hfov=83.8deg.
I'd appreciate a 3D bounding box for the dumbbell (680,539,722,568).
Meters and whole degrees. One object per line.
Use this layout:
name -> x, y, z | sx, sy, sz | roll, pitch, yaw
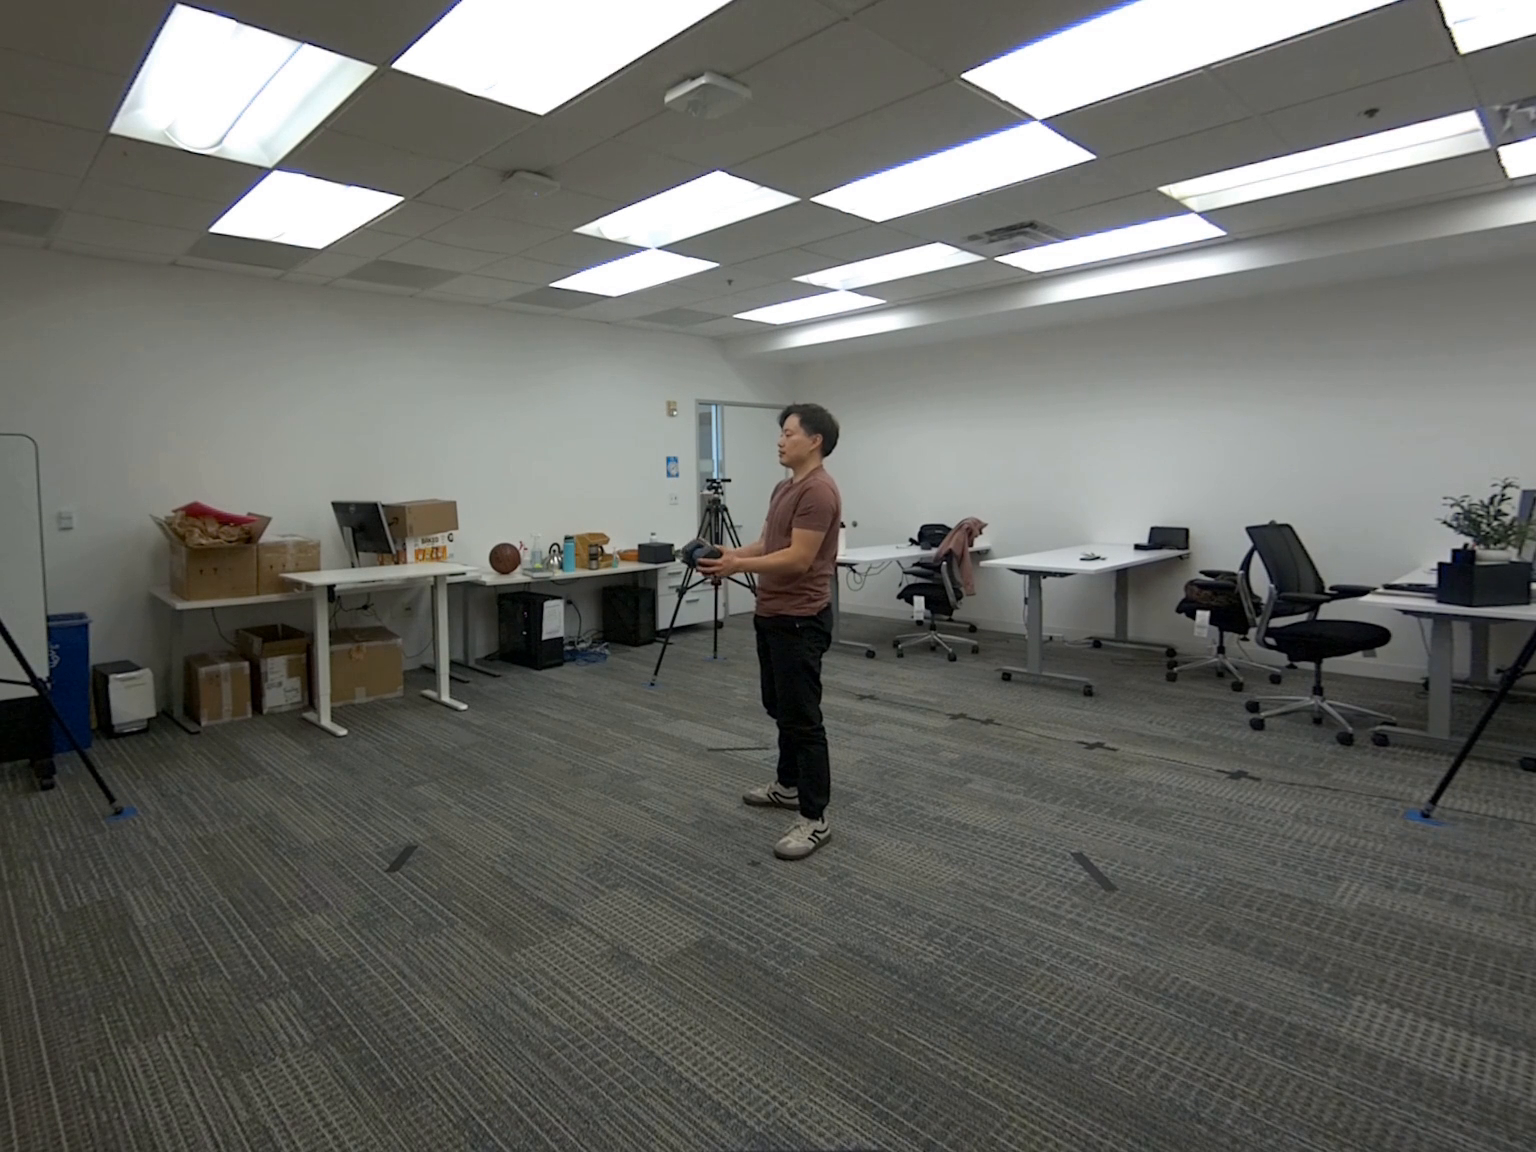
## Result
dumbbell -> -0.242, -0.076, 3.330 | 0.123, 0.107, 0.299 | -40, 15, -7
